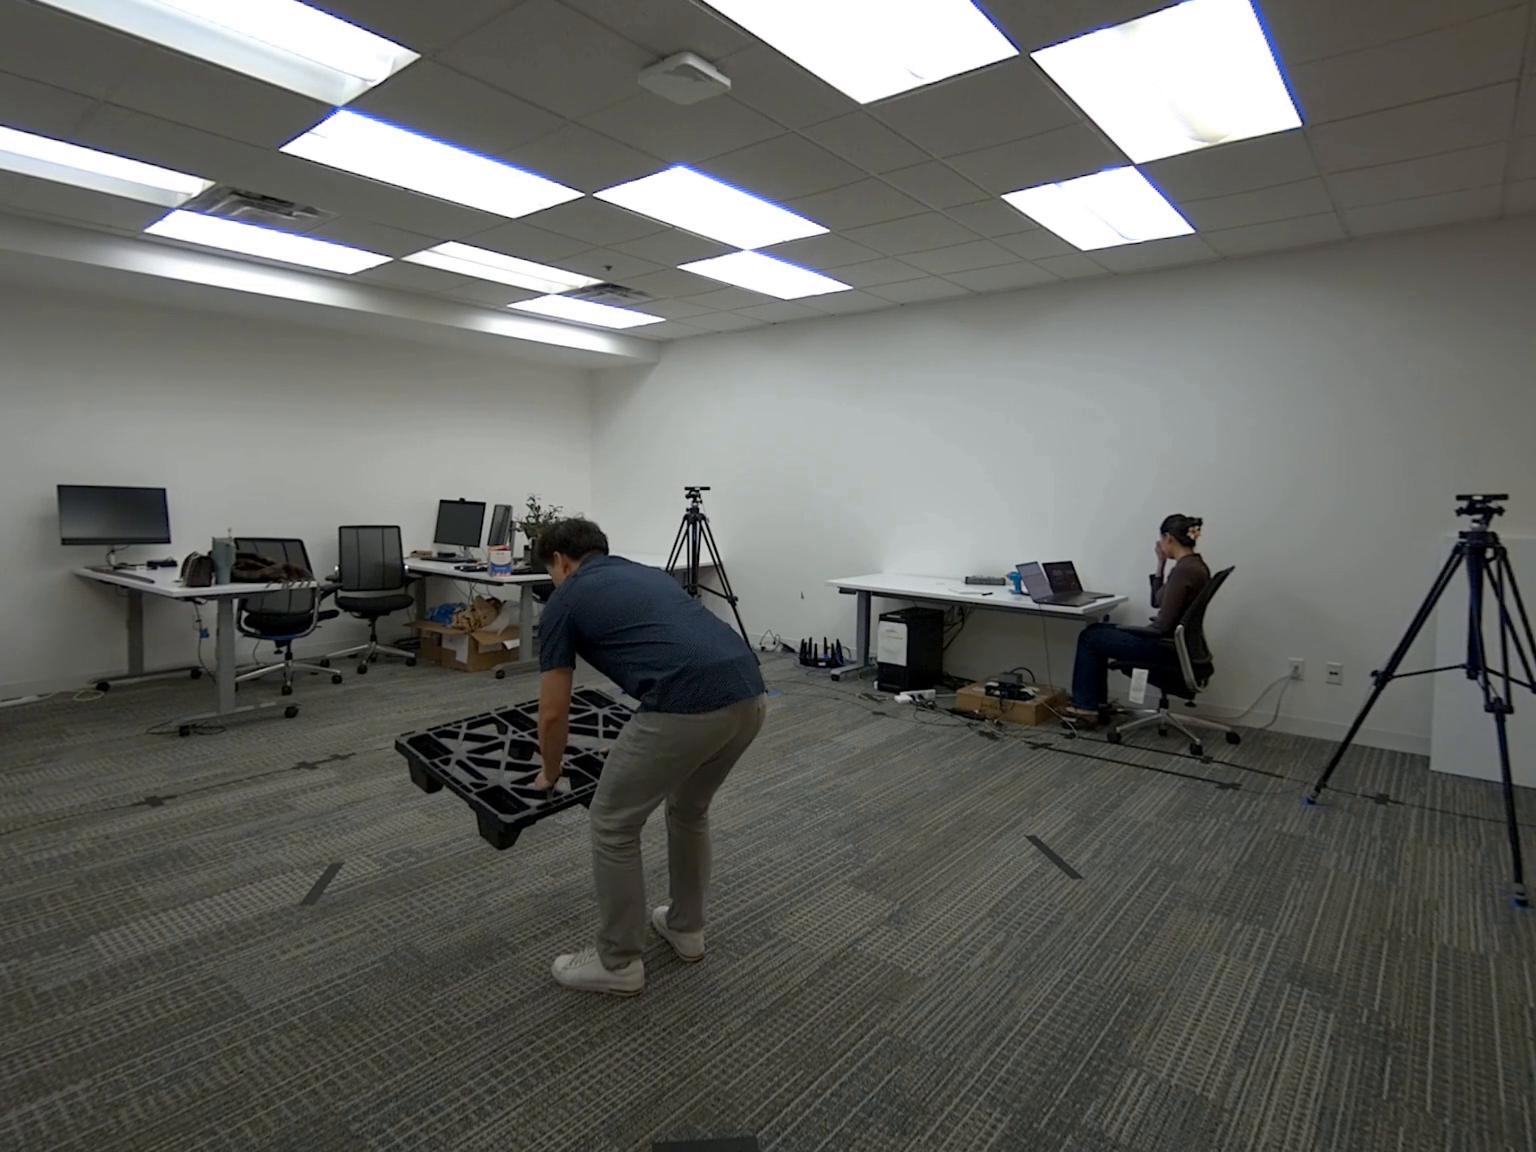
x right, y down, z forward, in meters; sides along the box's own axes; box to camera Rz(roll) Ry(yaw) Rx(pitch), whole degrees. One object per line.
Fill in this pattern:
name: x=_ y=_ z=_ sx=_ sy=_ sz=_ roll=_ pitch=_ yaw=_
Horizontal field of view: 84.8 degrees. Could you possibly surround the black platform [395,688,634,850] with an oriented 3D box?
black platform: x=-0.718 y=0.597 z=2.769 sx=0.628 sy=0.142 sz=0.784 roll=18 pitch=18 yaw=36
